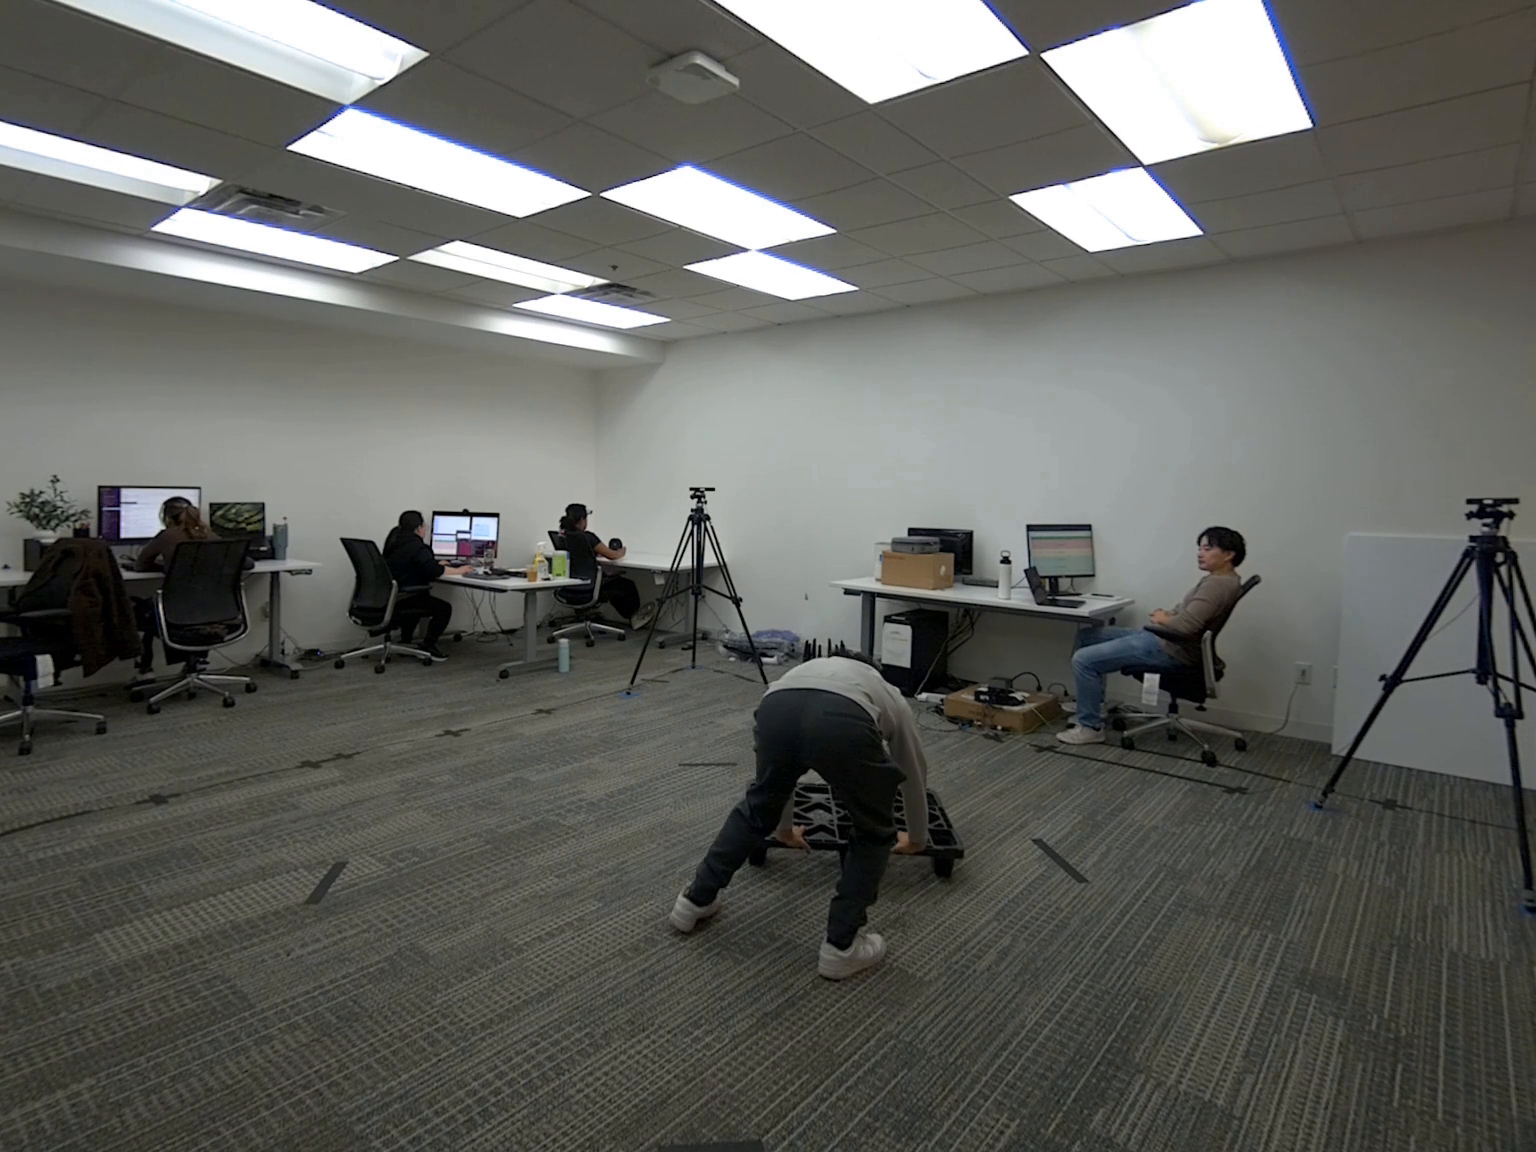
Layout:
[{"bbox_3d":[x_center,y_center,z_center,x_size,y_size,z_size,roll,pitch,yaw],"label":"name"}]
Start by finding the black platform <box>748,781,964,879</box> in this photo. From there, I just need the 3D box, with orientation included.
[{"bbox_3d":[0.294,0.981,3.344,0.809,0.143,0.605,2,5,3],"label":"black platform"}]
